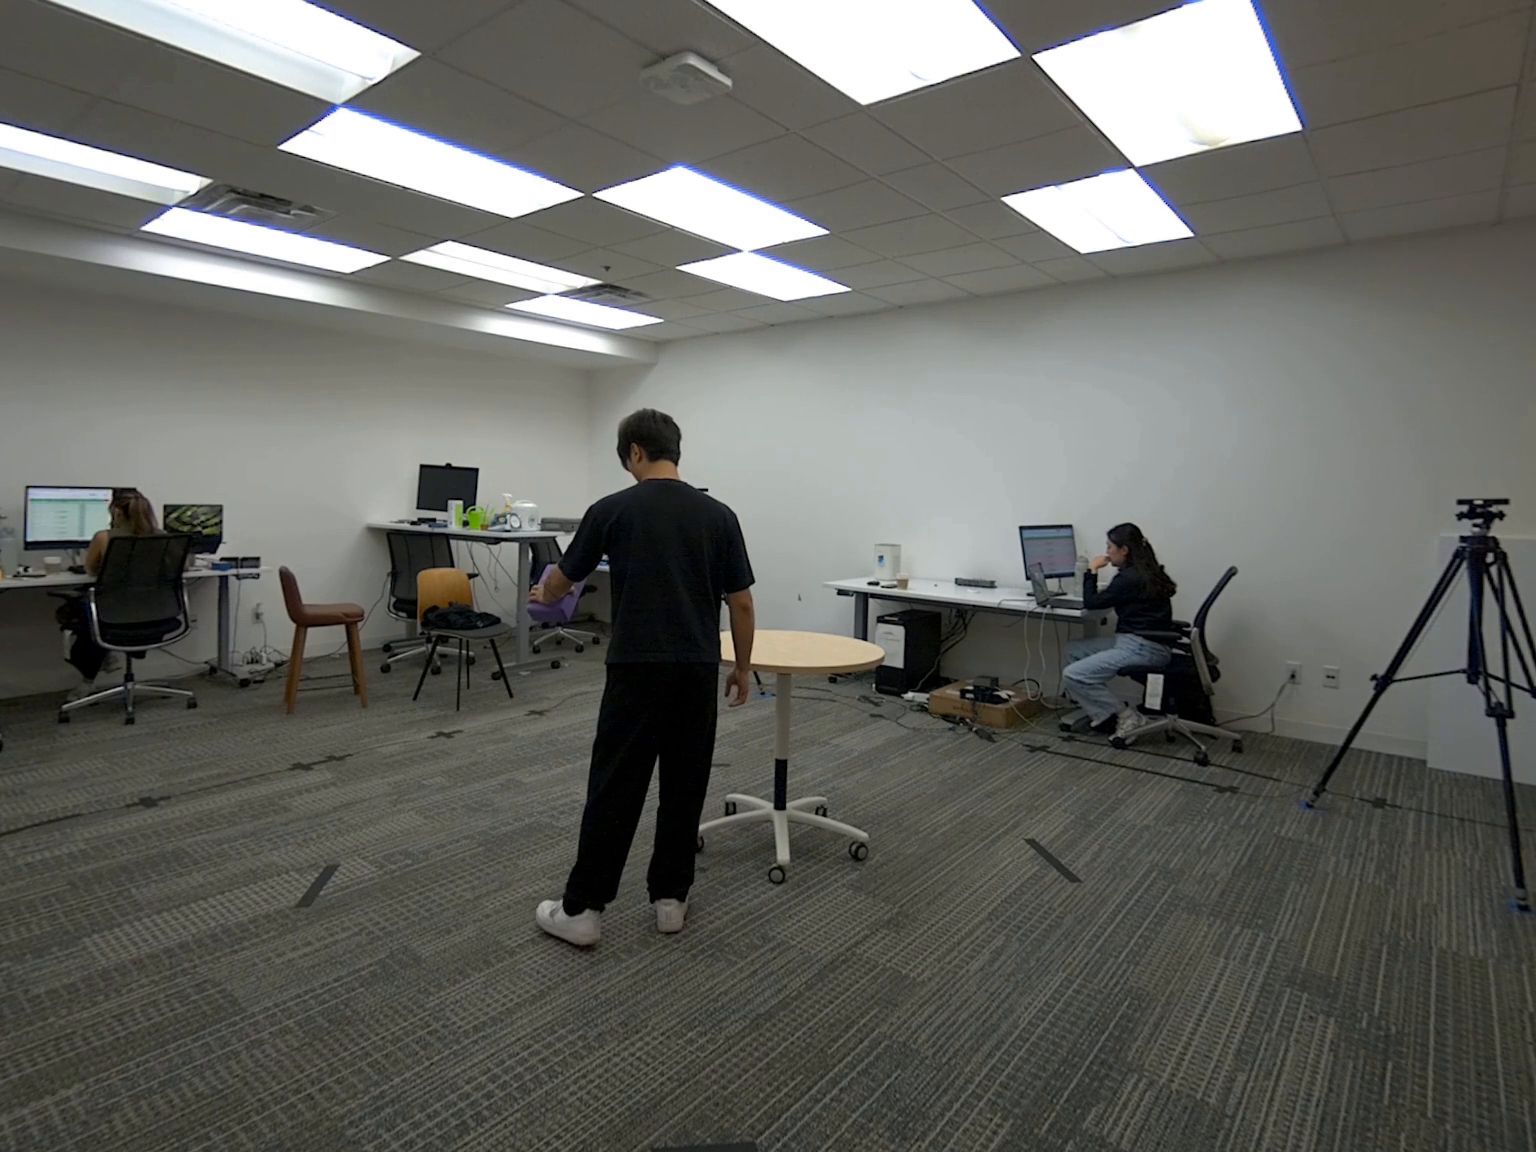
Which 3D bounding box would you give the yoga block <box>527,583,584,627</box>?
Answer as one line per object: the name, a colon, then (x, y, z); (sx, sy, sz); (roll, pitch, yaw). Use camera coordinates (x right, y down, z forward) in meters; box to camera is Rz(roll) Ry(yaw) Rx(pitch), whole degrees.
yoga block: (-0.778, 0.059, 3.097); (0.151, 0.074, 0.234); (-1, 46, 14)
